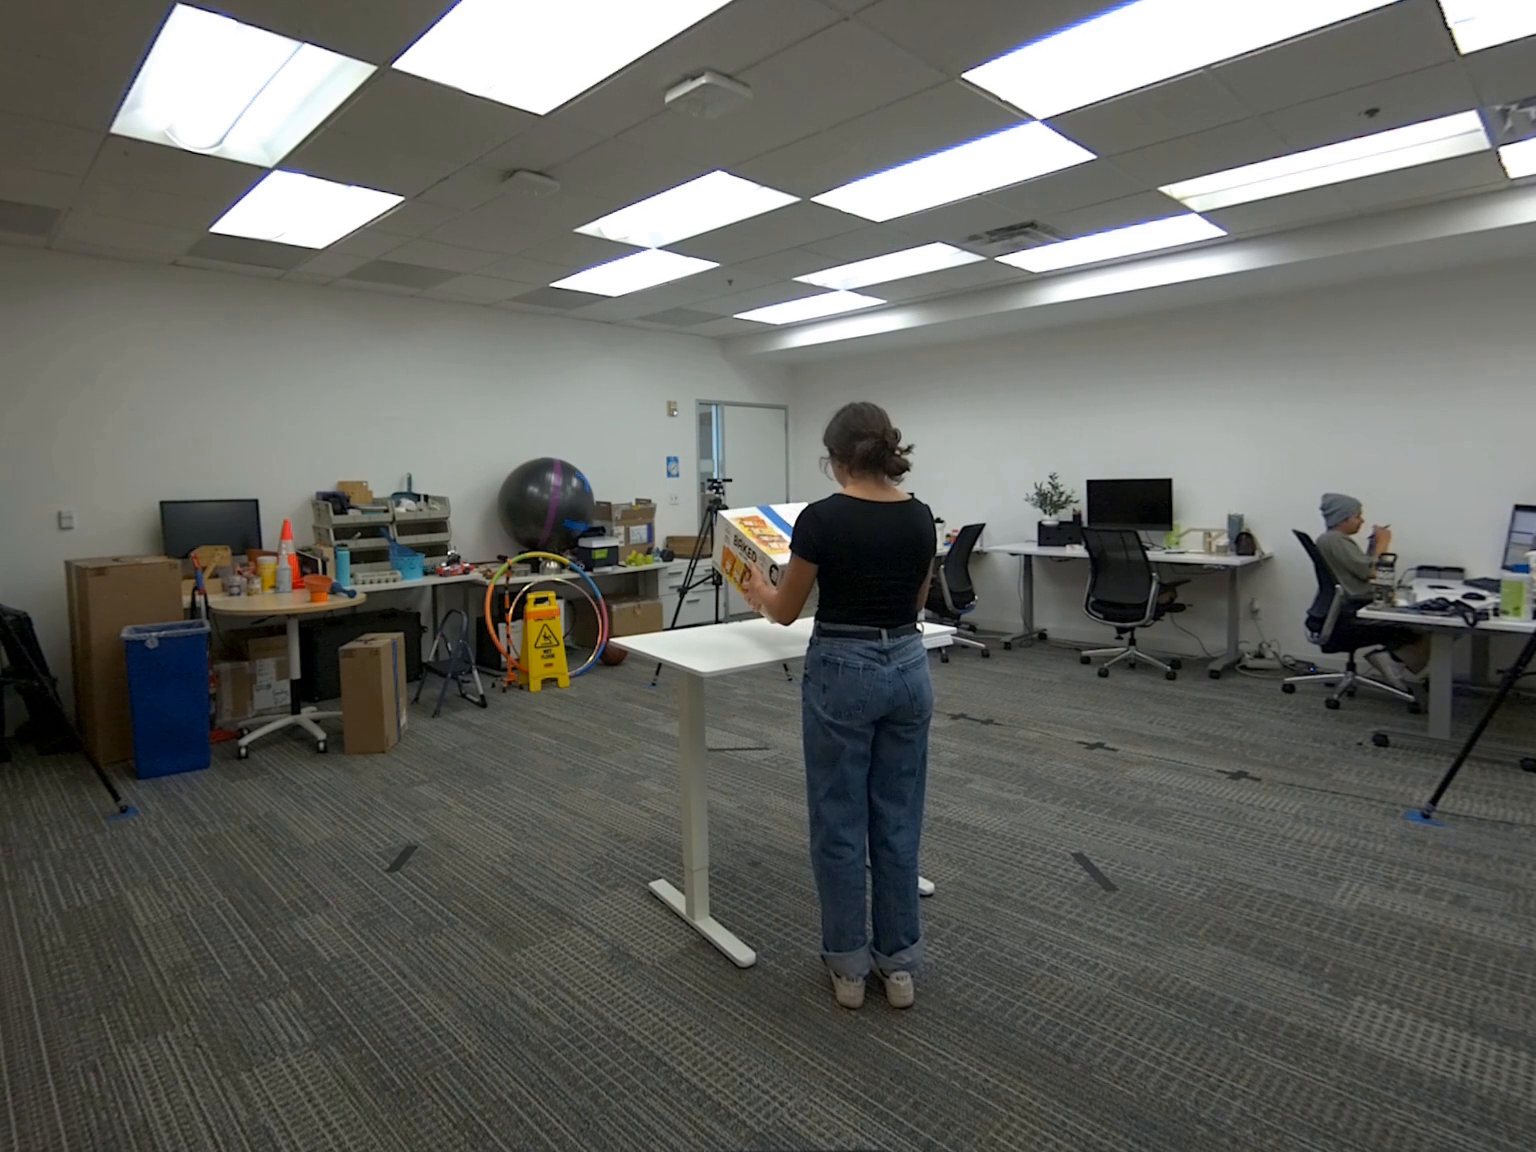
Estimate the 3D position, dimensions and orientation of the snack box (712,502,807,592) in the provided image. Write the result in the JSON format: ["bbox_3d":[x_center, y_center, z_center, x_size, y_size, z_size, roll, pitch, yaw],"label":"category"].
[{"bbox_3d":[0.073,-0.053,2.742,0.333,0.202,0.421,-8,29,-28],"label":"snack box"}]
